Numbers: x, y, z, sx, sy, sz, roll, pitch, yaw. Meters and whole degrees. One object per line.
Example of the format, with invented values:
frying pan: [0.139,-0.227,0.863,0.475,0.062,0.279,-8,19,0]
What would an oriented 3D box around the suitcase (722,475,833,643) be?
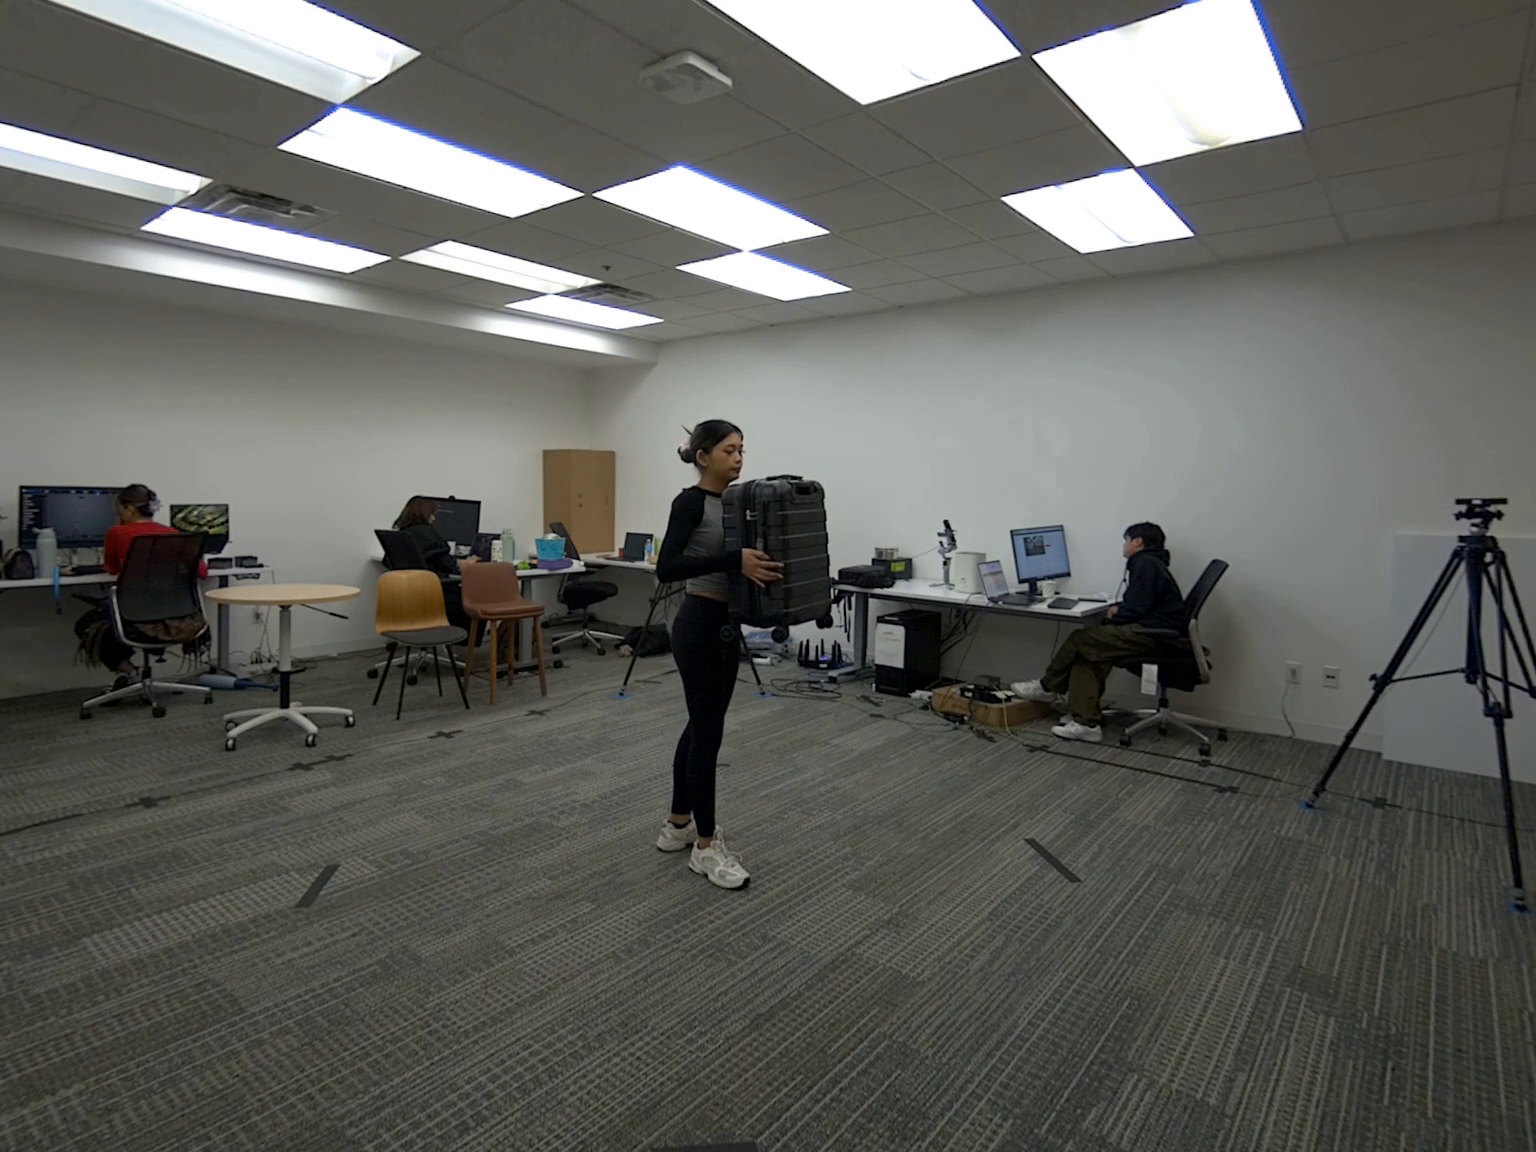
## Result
suitcase: [0.027,-0.076,2.968,0.255,0.548,0.366,-1,4,33]
